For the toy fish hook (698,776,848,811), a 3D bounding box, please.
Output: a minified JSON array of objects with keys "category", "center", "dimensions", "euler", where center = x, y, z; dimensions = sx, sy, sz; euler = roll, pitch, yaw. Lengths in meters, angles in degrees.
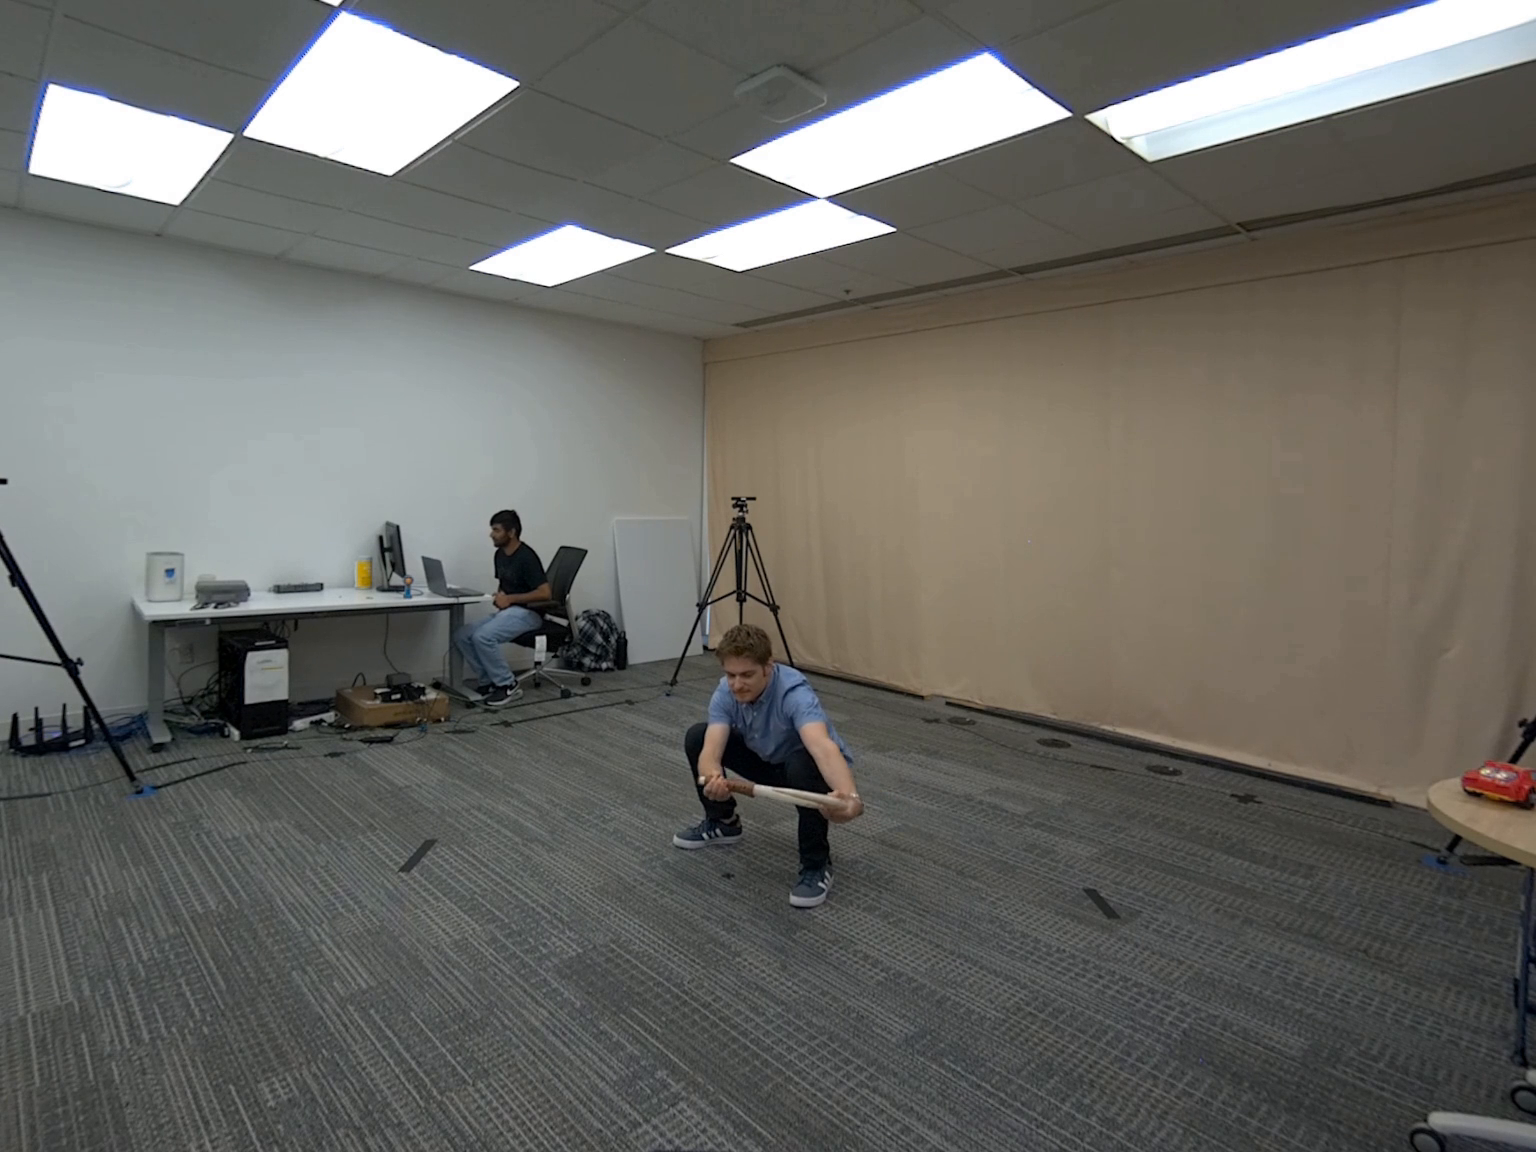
[{"category":"toy fish hook","center":[-0.008,0.658,2.543],"dimensions":[0.516,0.049,0.218],"euler":[3,-23,24]}]
